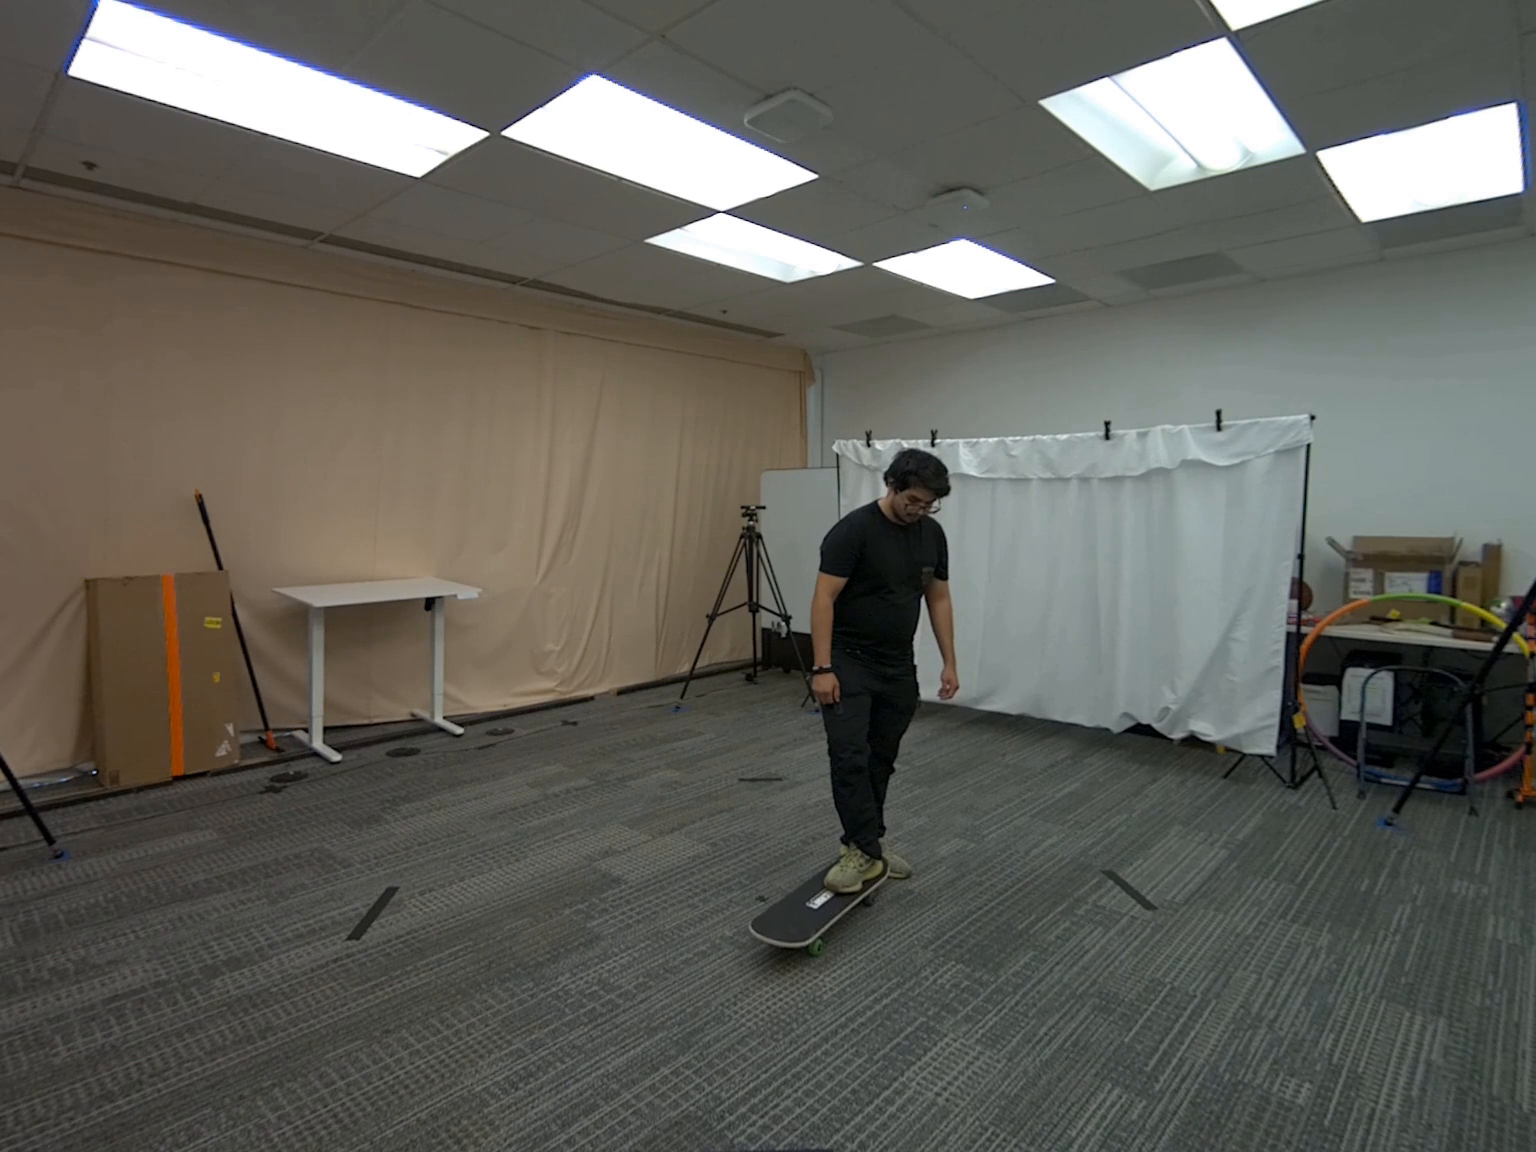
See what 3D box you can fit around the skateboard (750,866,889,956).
[{"bbox_3d":[0.193,1.106,2.804,0.199,0.110,0.763,7,6,31],"label":"skateboard"}]
